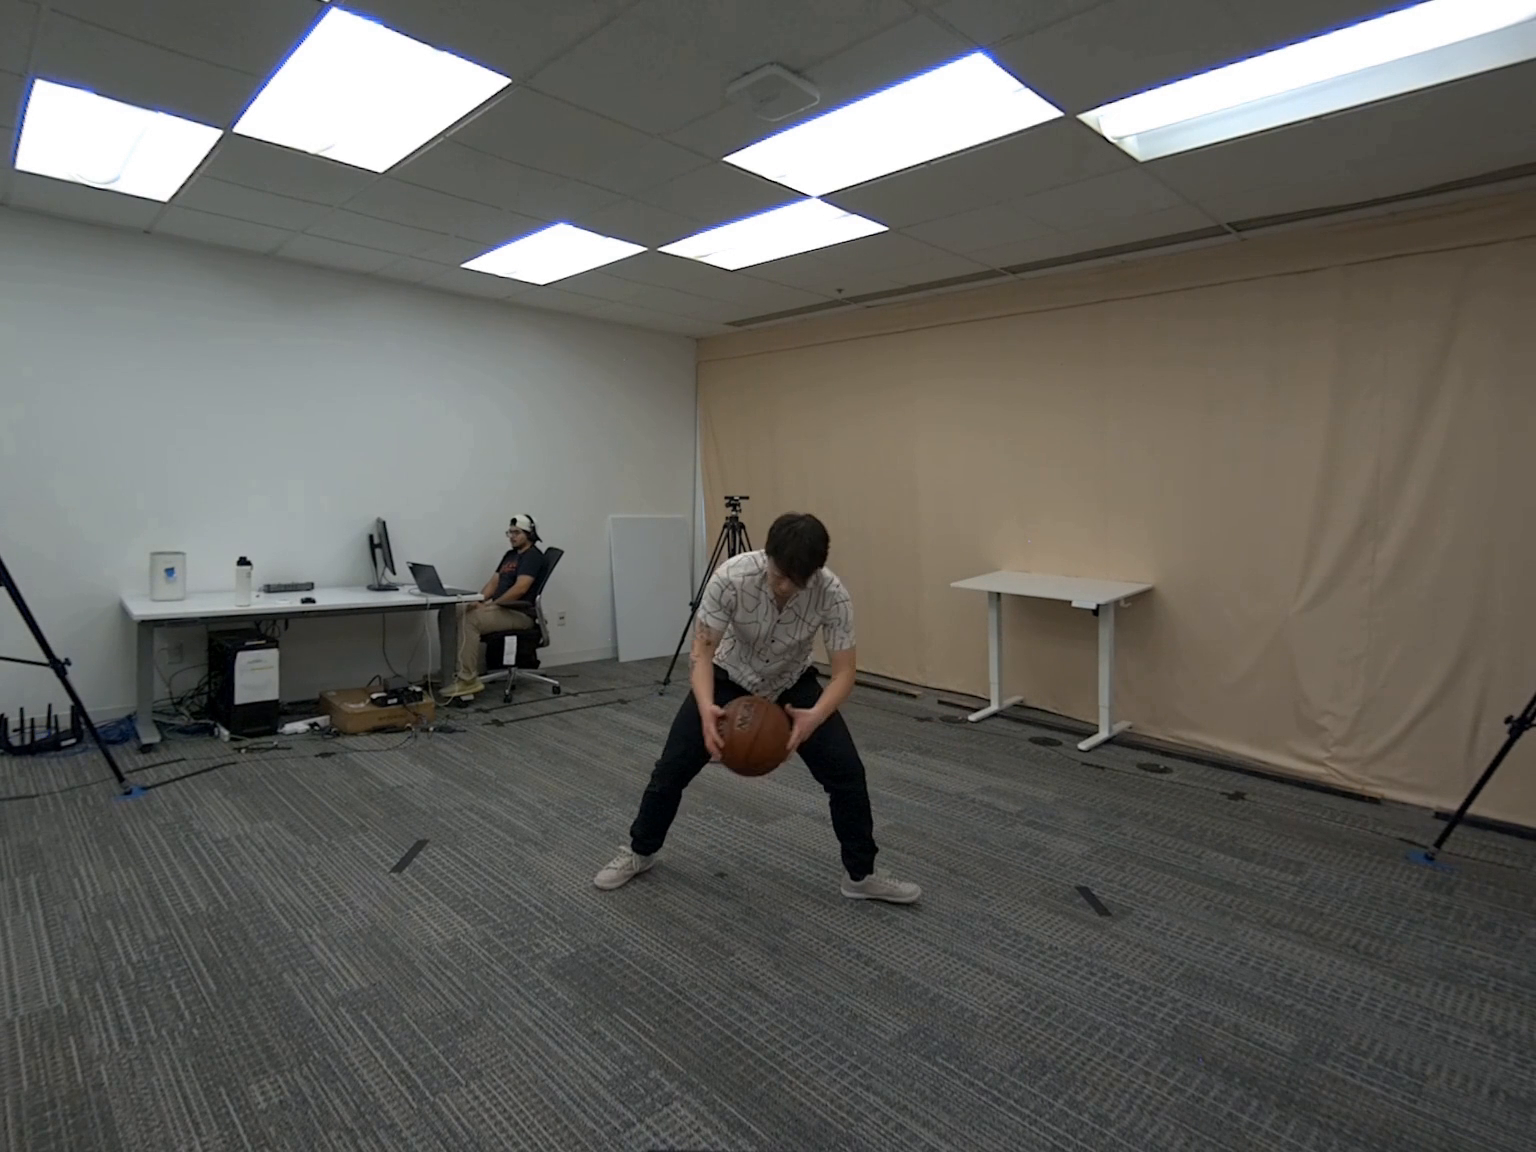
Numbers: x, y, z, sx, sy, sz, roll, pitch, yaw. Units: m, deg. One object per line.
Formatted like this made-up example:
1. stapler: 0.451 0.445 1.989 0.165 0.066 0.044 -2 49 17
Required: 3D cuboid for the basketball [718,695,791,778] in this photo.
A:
1. basketball: -0.025 0.483 2.555 0.236 0.235 0.237 1 4 -1
